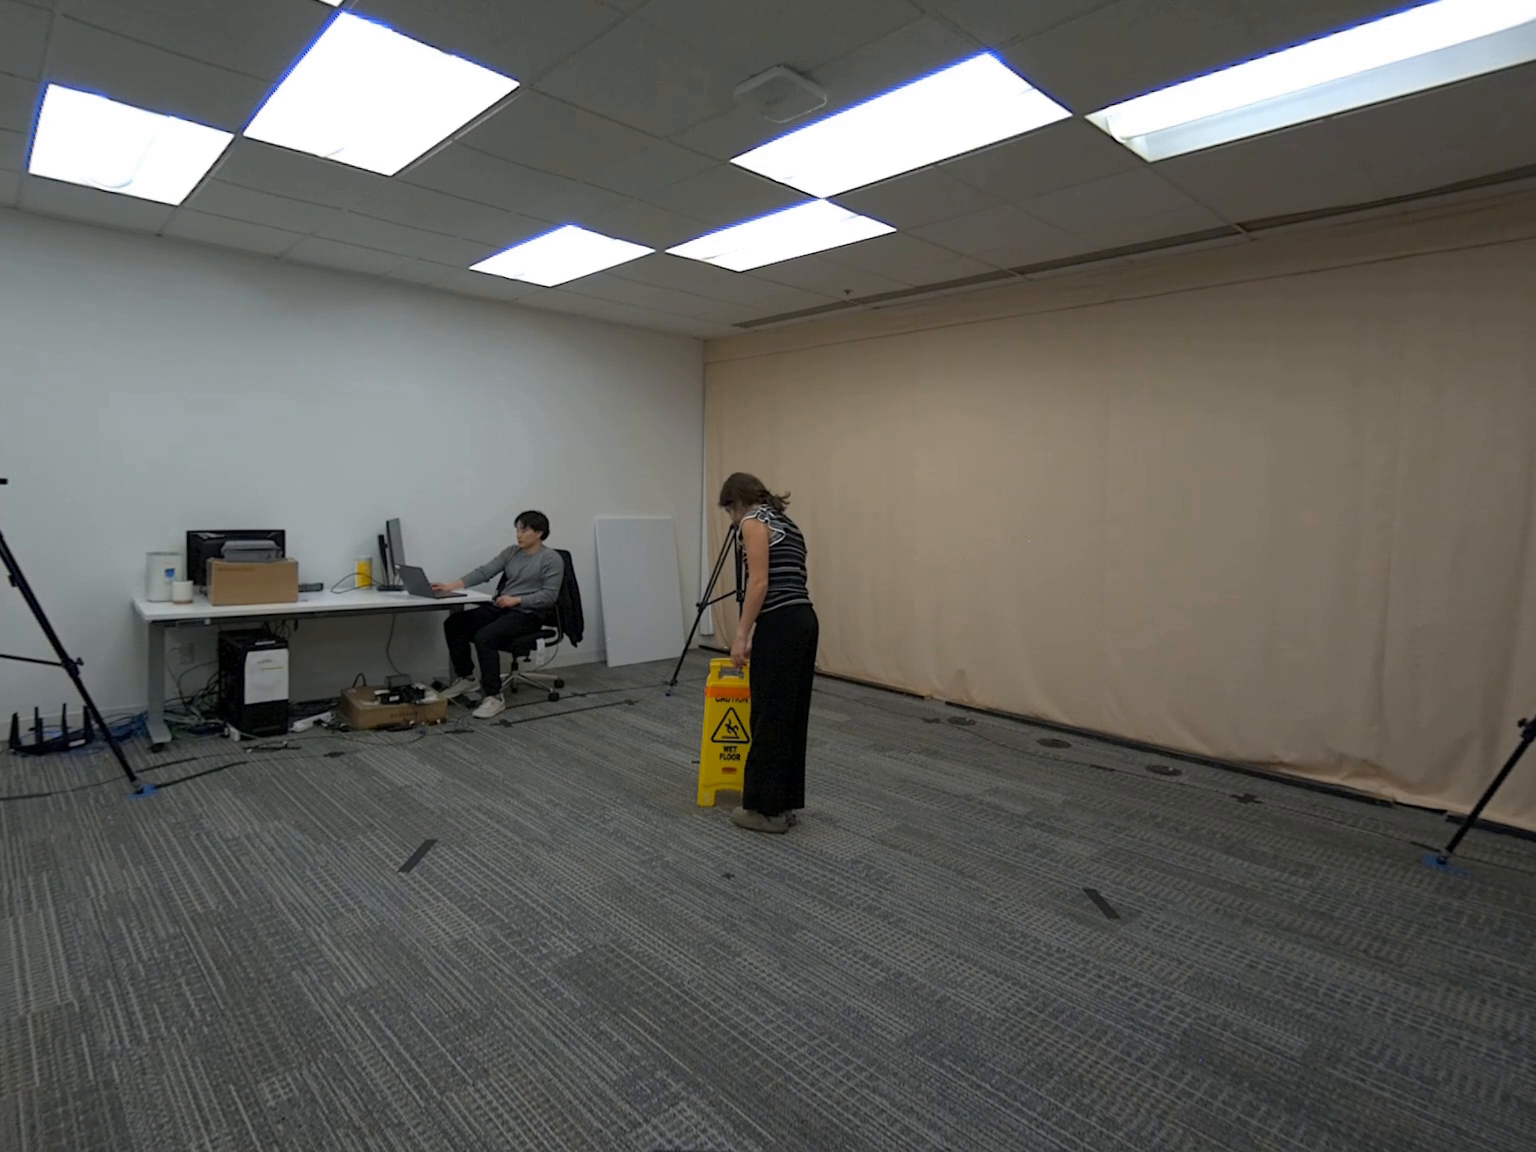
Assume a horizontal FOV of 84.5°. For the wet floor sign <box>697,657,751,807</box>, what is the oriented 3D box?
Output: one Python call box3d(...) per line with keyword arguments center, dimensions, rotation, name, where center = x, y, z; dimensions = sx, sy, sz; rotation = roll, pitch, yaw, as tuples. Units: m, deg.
box3d(center=(-0.184, 0.708, 3.919), dimensions=(0.282, 0.645, 0.290), rotation=(3, 3, -2), name="wet floor sign")
